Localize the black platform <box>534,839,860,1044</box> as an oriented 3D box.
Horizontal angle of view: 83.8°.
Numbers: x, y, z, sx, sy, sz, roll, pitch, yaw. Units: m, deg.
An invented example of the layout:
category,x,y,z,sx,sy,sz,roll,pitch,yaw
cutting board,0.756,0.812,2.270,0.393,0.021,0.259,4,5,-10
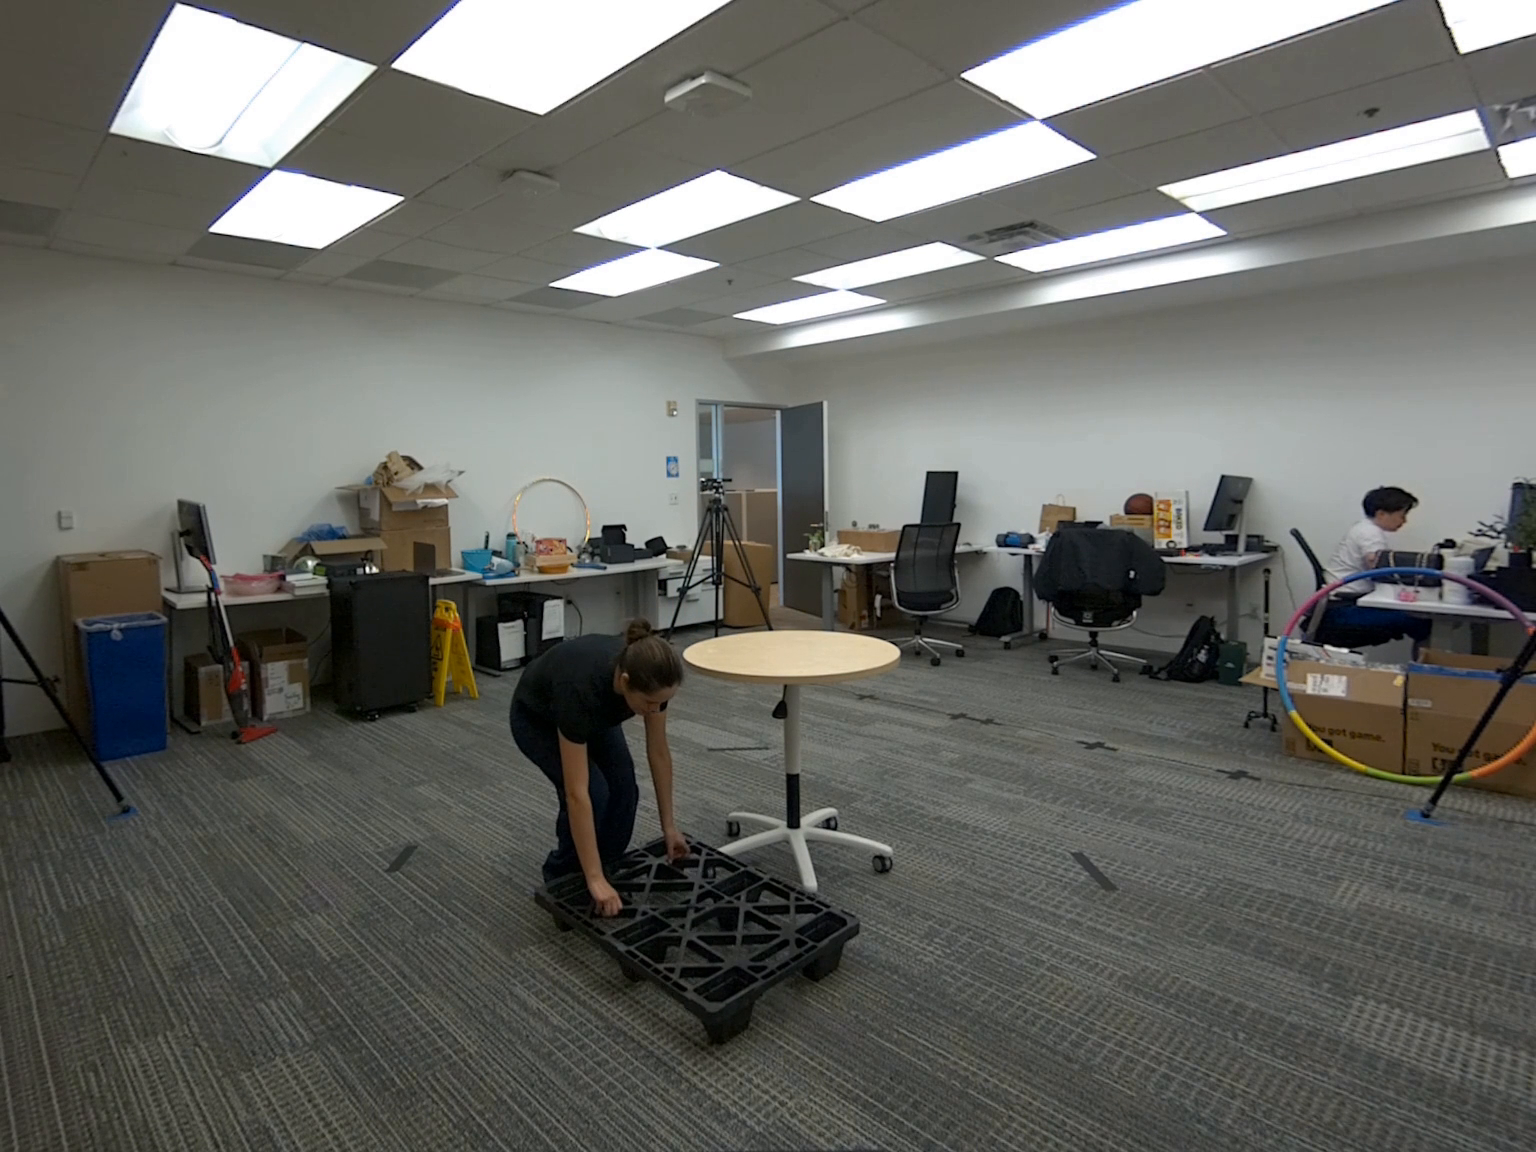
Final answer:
category,x,y,z,sx,sy,sz,roll,pitch,yaw
black platform,-0.218,1.034,2.540,0.832,0.142,0.589,8,10,43
